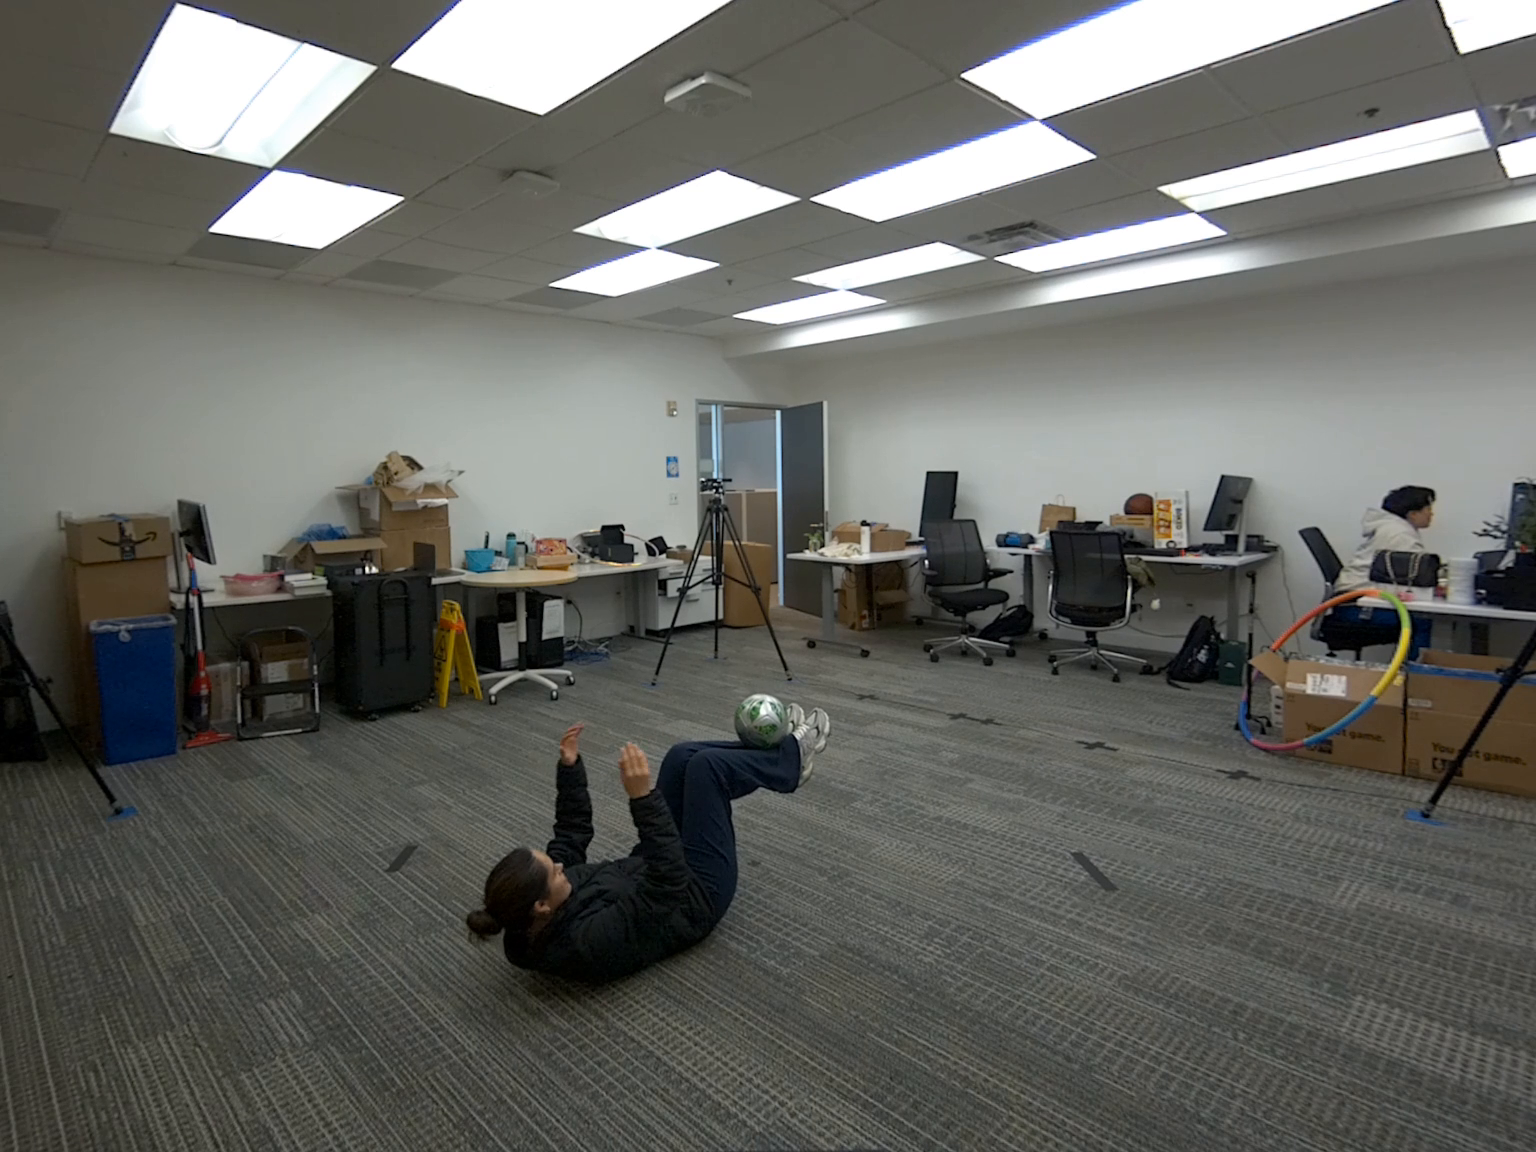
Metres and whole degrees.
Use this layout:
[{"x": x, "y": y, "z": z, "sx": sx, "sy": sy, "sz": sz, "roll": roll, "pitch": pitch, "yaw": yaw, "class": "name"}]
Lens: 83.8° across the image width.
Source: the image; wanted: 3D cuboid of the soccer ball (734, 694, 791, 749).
[{"x": -0.016, "y": 0.492, "z": 2.889, "sx": 0.187, "sy": 0.187, "sz": 0.188, "roll": 0, "pitch": 1, "yaw": -2, "class": "soccer ball"}]
